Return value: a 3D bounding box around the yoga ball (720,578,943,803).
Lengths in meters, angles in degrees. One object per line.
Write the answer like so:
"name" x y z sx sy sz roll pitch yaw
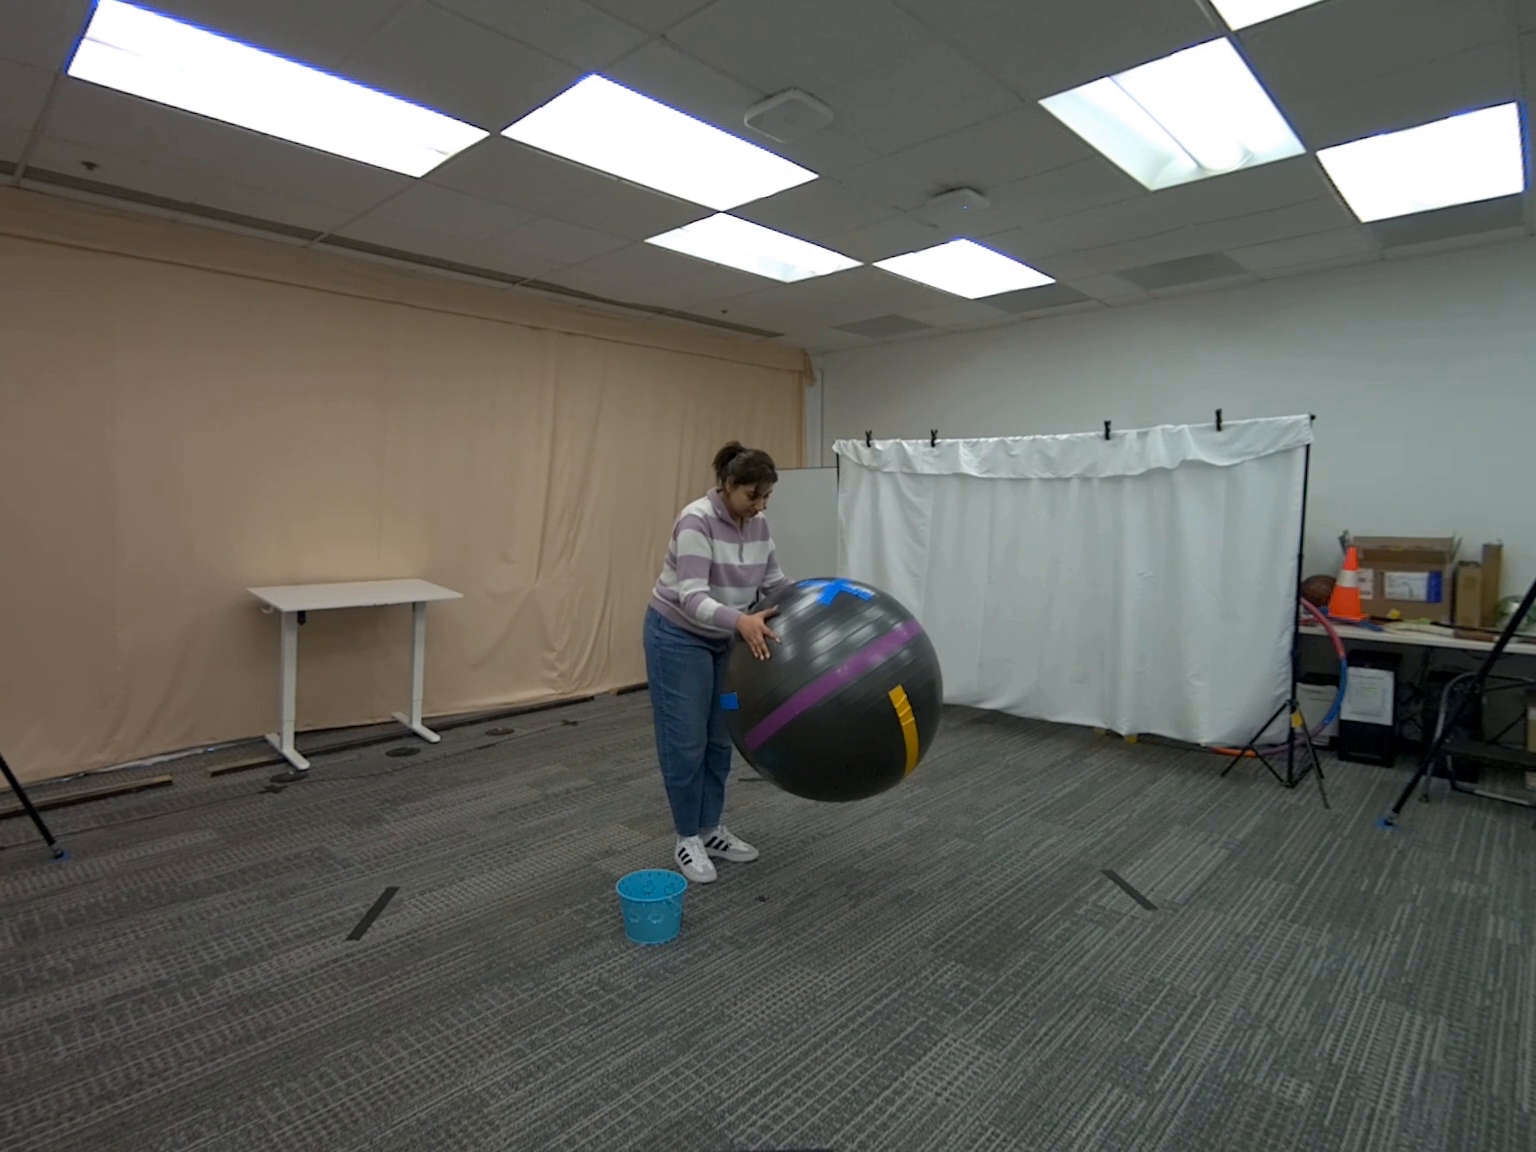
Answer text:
"yoga ball" 0.209 0.398 2.889 0.757 0.756 0.760 0 4 -2
